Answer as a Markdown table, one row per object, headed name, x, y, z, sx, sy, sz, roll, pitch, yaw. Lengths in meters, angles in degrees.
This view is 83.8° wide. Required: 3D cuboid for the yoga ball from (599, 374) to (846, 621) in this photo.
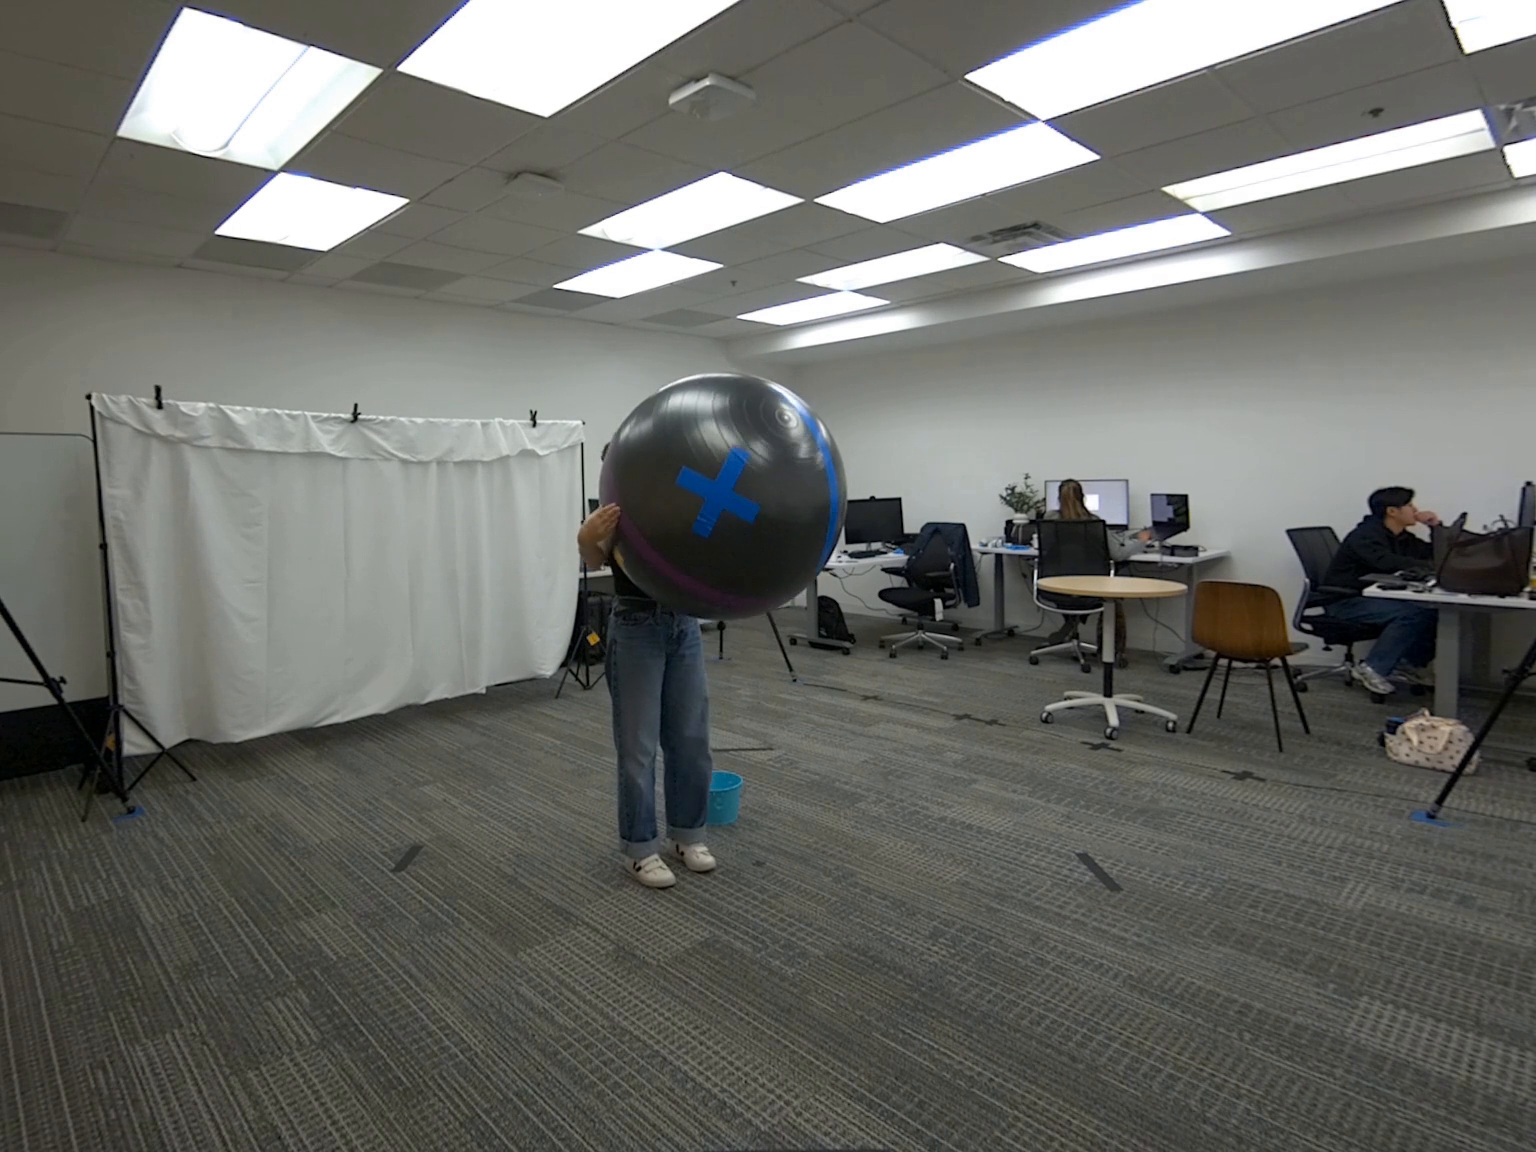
| name | x | y | z | sx | sy | sz | roll | pitch | yaw |
| --- | --- | --- | --- | --- | --- | --- | --- | --- | --- |
| yoga ball | -0.132 | -0.233 | 2.615 | 0.757 | 0.755 | 0.762 | -1 | 5 | -2 |
